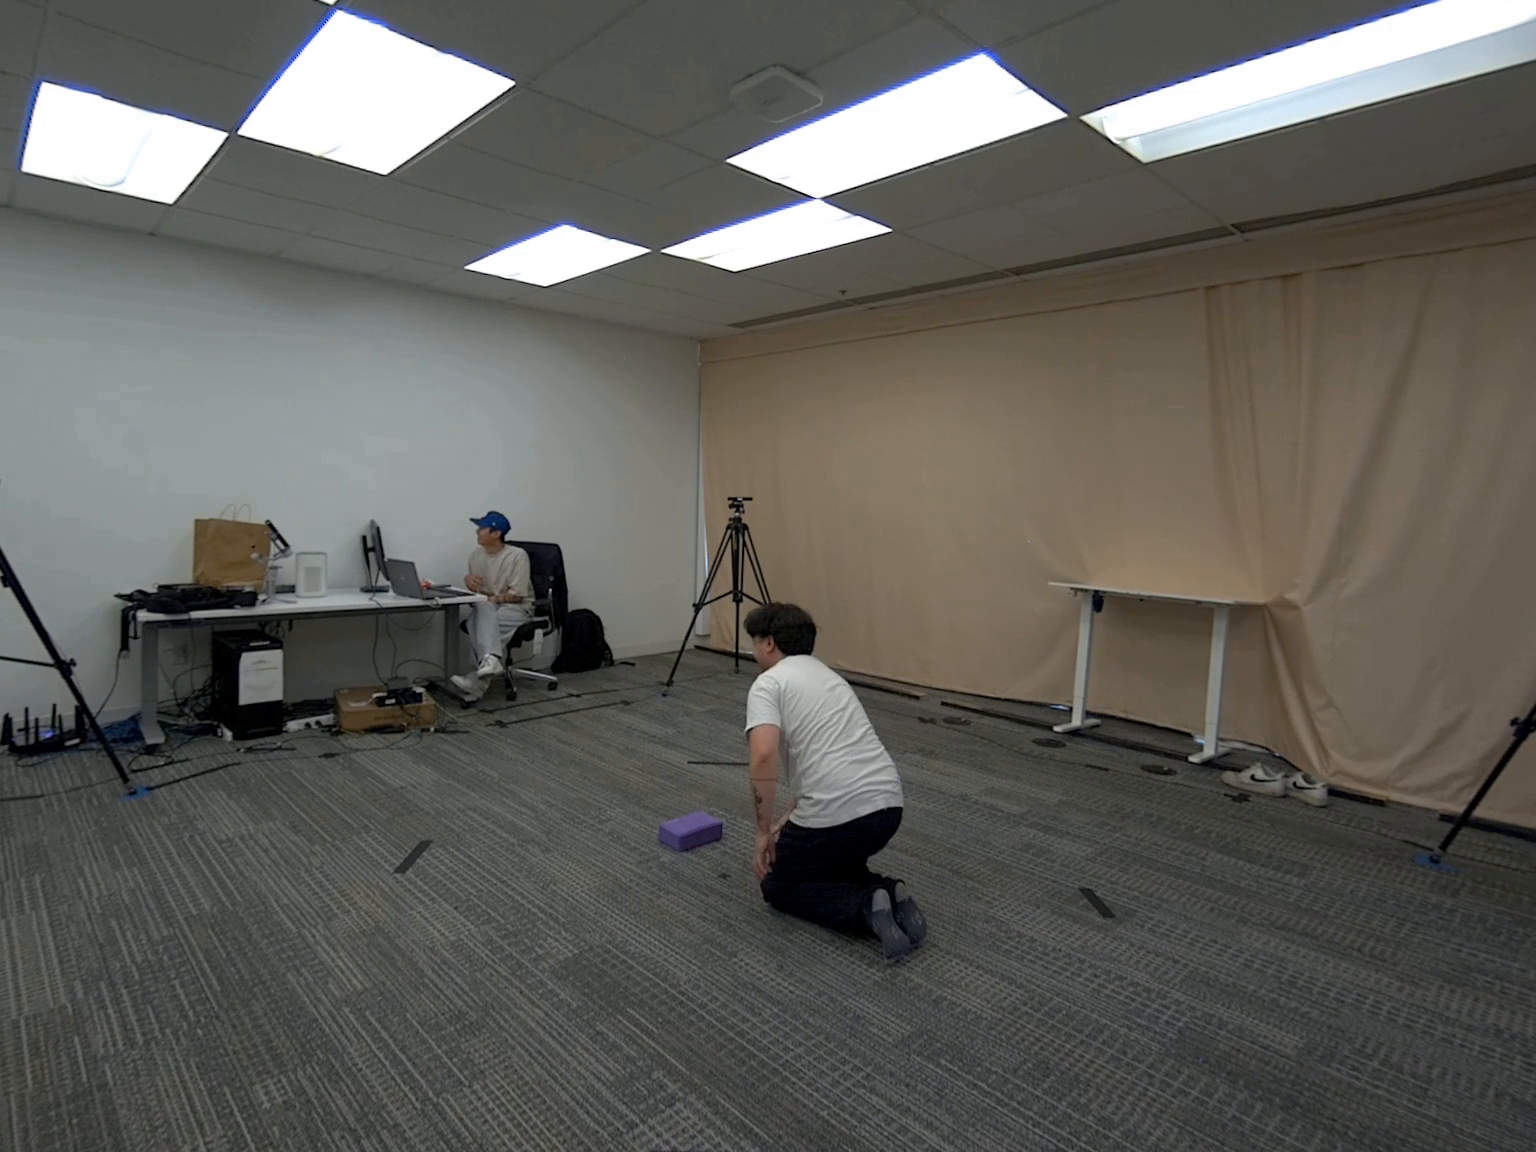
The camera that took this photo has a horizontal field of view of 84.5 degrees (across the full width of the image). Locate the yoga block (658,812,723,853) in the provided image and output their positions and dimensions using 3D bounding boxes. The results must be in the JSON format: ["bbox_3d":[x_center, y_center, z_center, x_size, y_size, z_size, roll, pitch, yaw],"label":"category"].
[{"bbox_3d":[-0.318,1.036,3.423,0.224,0.076,0.153,-4,8,-45],"label":"yoga block"}]
